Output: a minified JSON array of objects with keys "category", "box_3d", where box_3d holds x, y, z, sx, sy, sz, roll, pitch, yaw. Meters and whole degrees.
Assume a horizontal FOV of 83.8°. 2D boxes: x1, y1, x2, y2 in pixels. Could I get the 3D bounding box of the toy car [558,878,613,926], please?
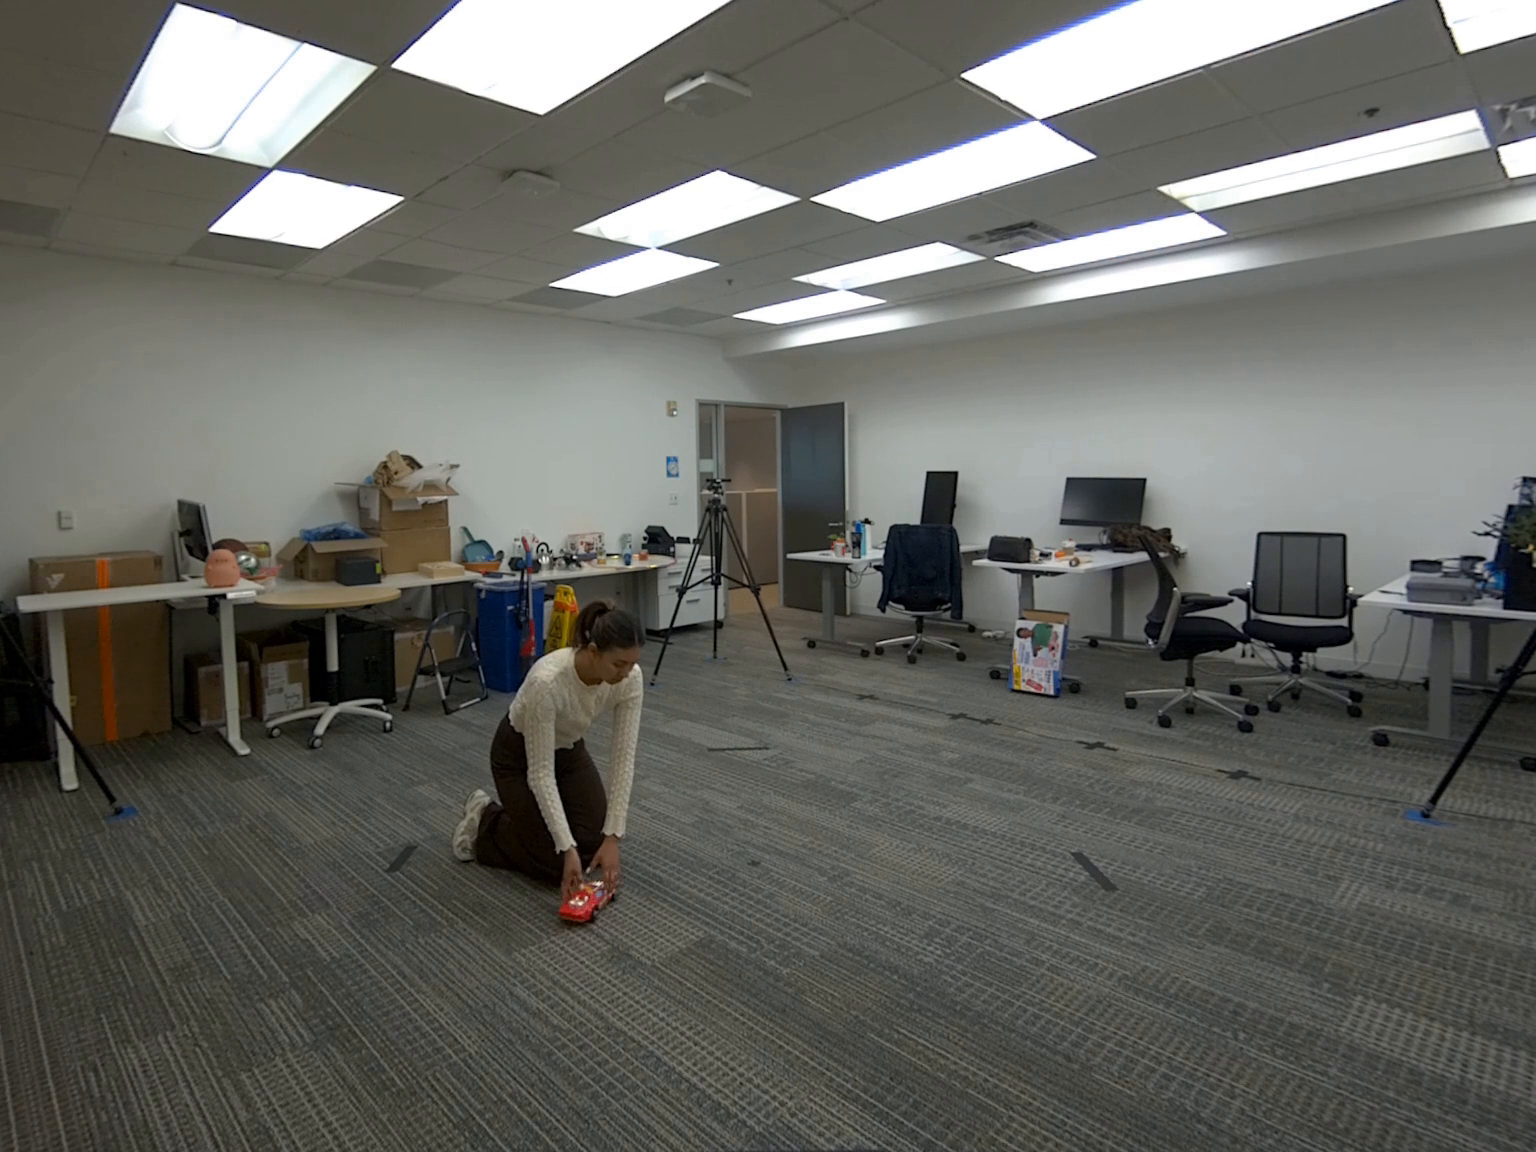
[{"category":"toy car","box_3d":[-0.581,1.062,2.774,0.133,0.083,0.248,2,-5,21]}]
